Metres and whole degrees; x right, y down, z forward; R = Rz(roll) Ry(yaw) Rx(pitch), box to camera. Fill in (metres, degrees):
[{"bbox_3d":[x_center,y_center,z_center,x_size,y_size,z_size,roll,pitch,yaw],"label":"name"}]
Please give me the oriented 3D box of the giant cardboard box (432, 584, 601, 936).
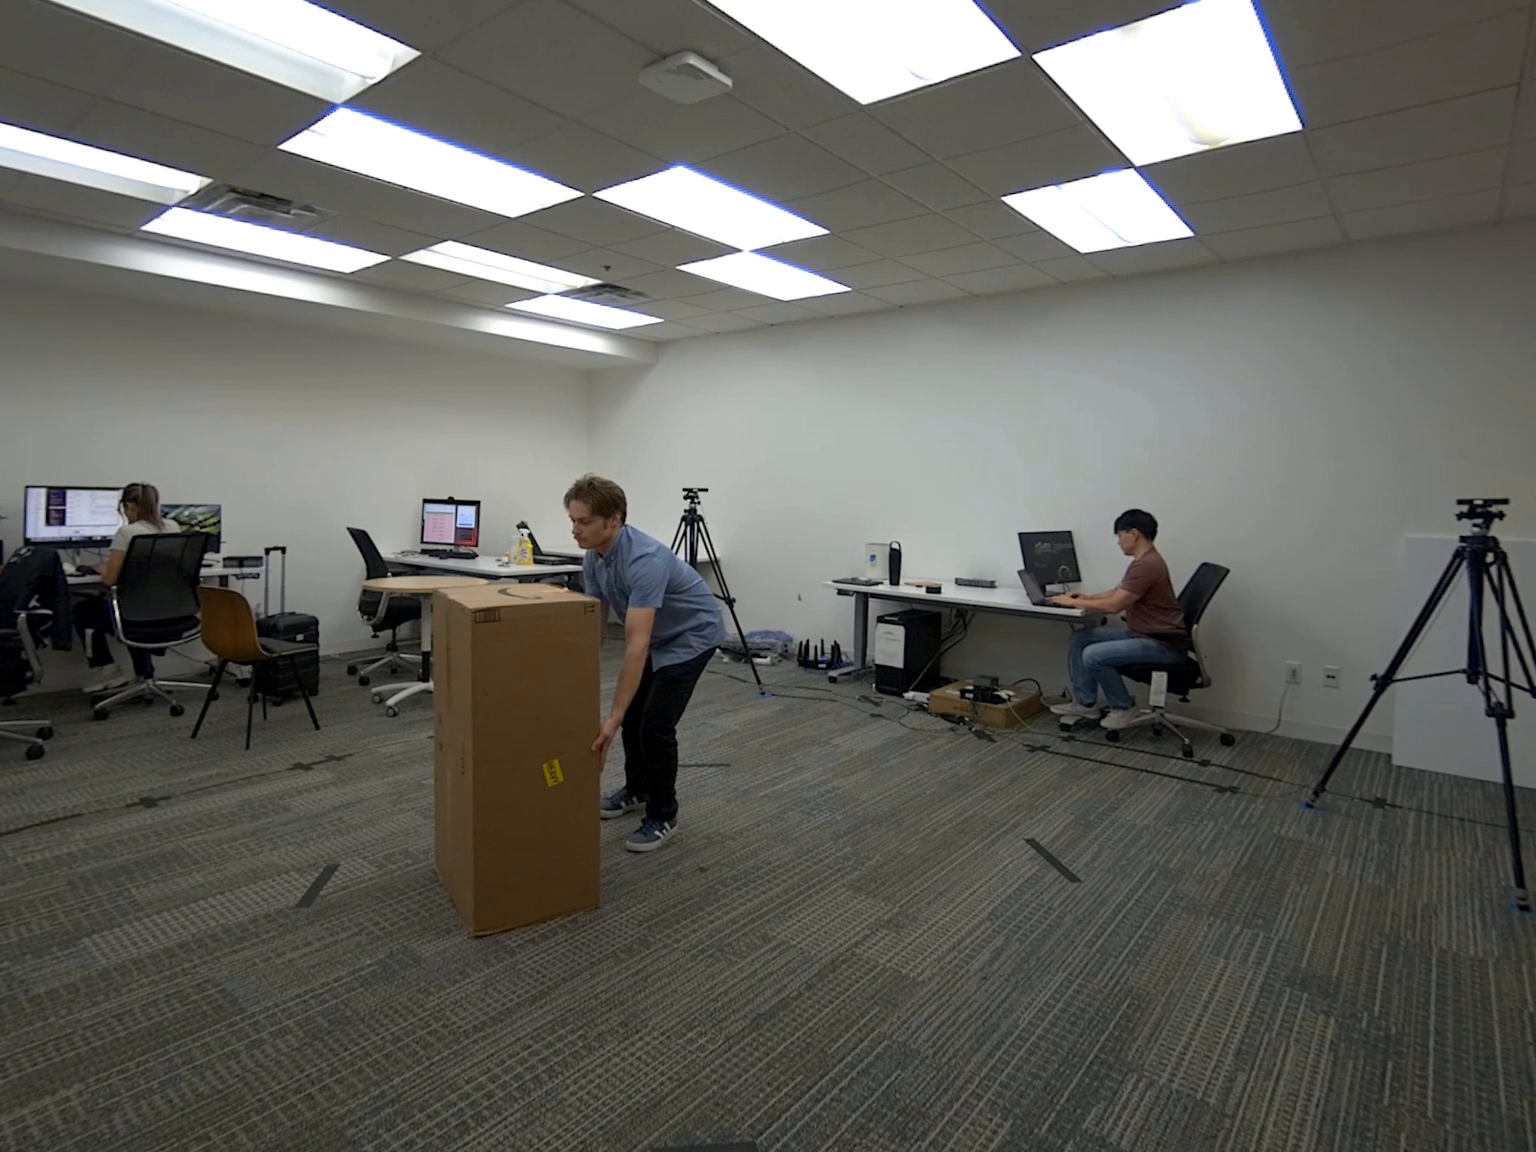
[{"bbox_3d":[-0.887,0.568,2.925,0.414,1.023,0.595,-1,4,-32],"label":"giant cardboard box"}]
